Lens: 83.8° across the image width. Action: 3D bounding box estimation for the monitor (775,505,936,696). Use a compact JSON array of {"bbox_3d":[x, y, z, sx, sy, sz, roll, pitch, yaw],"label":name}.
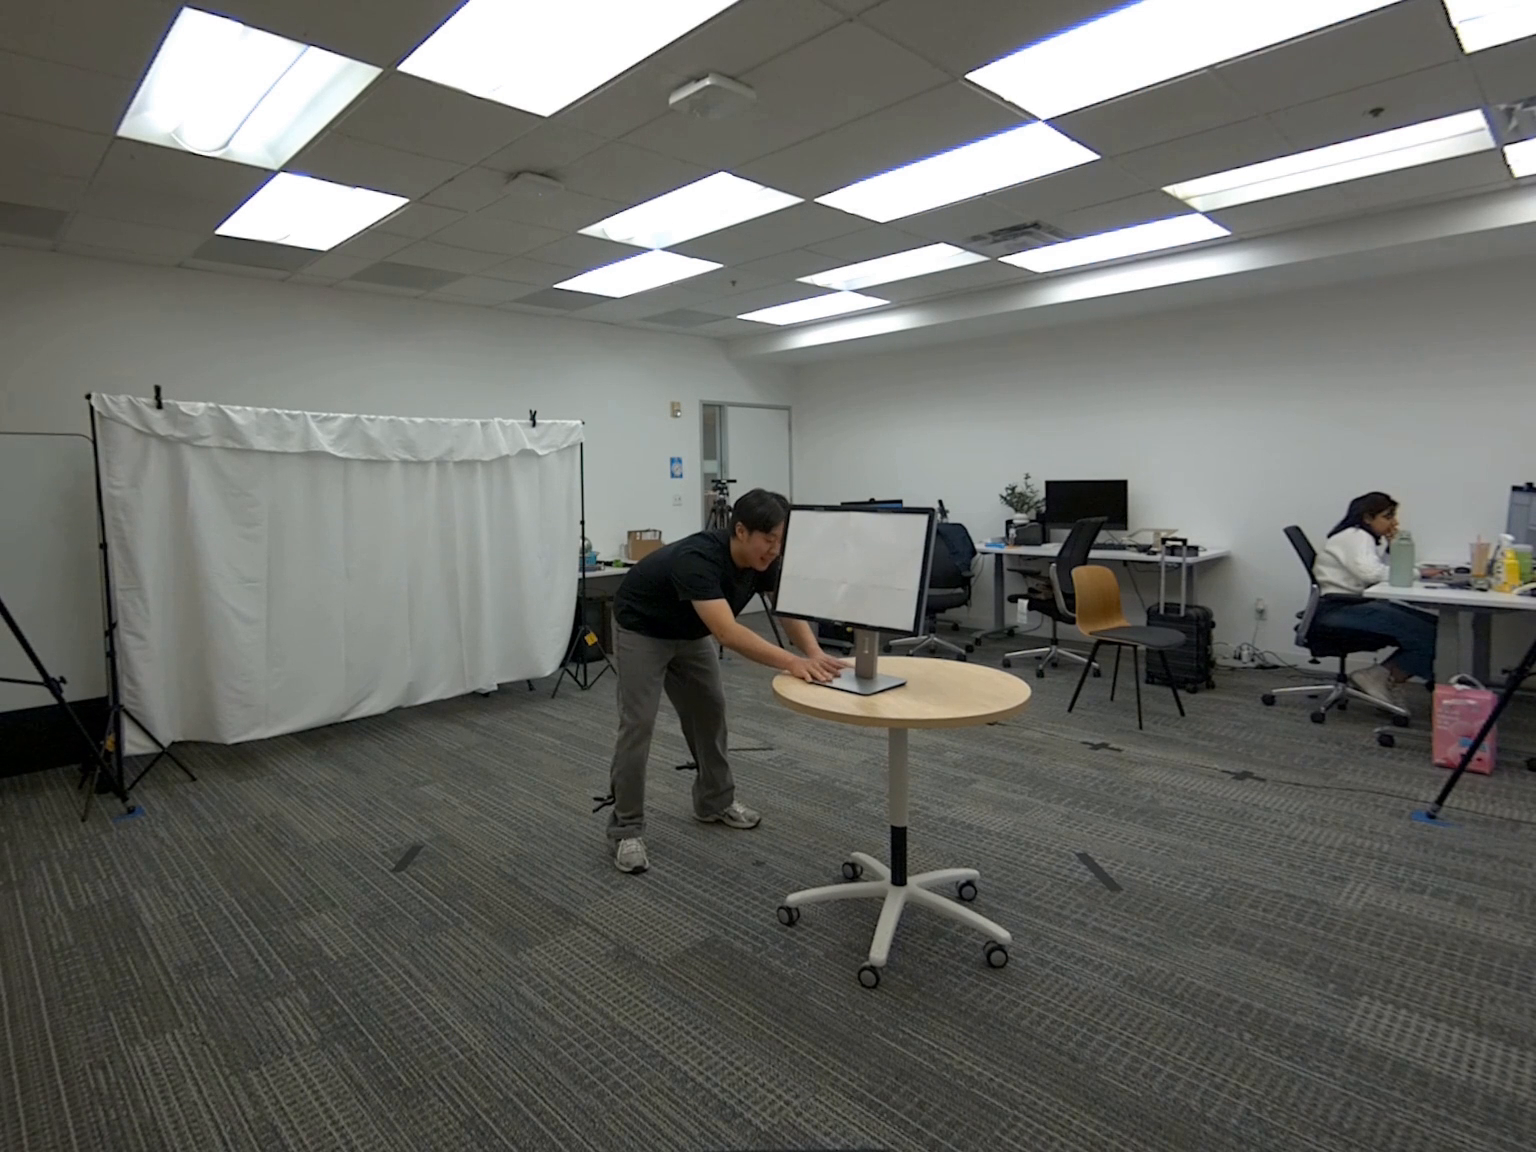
[{"bbox_3d":[0.292,0.061,2.600,0.583,0.554,0.204,4,0,43],"label":"monitor"}]
